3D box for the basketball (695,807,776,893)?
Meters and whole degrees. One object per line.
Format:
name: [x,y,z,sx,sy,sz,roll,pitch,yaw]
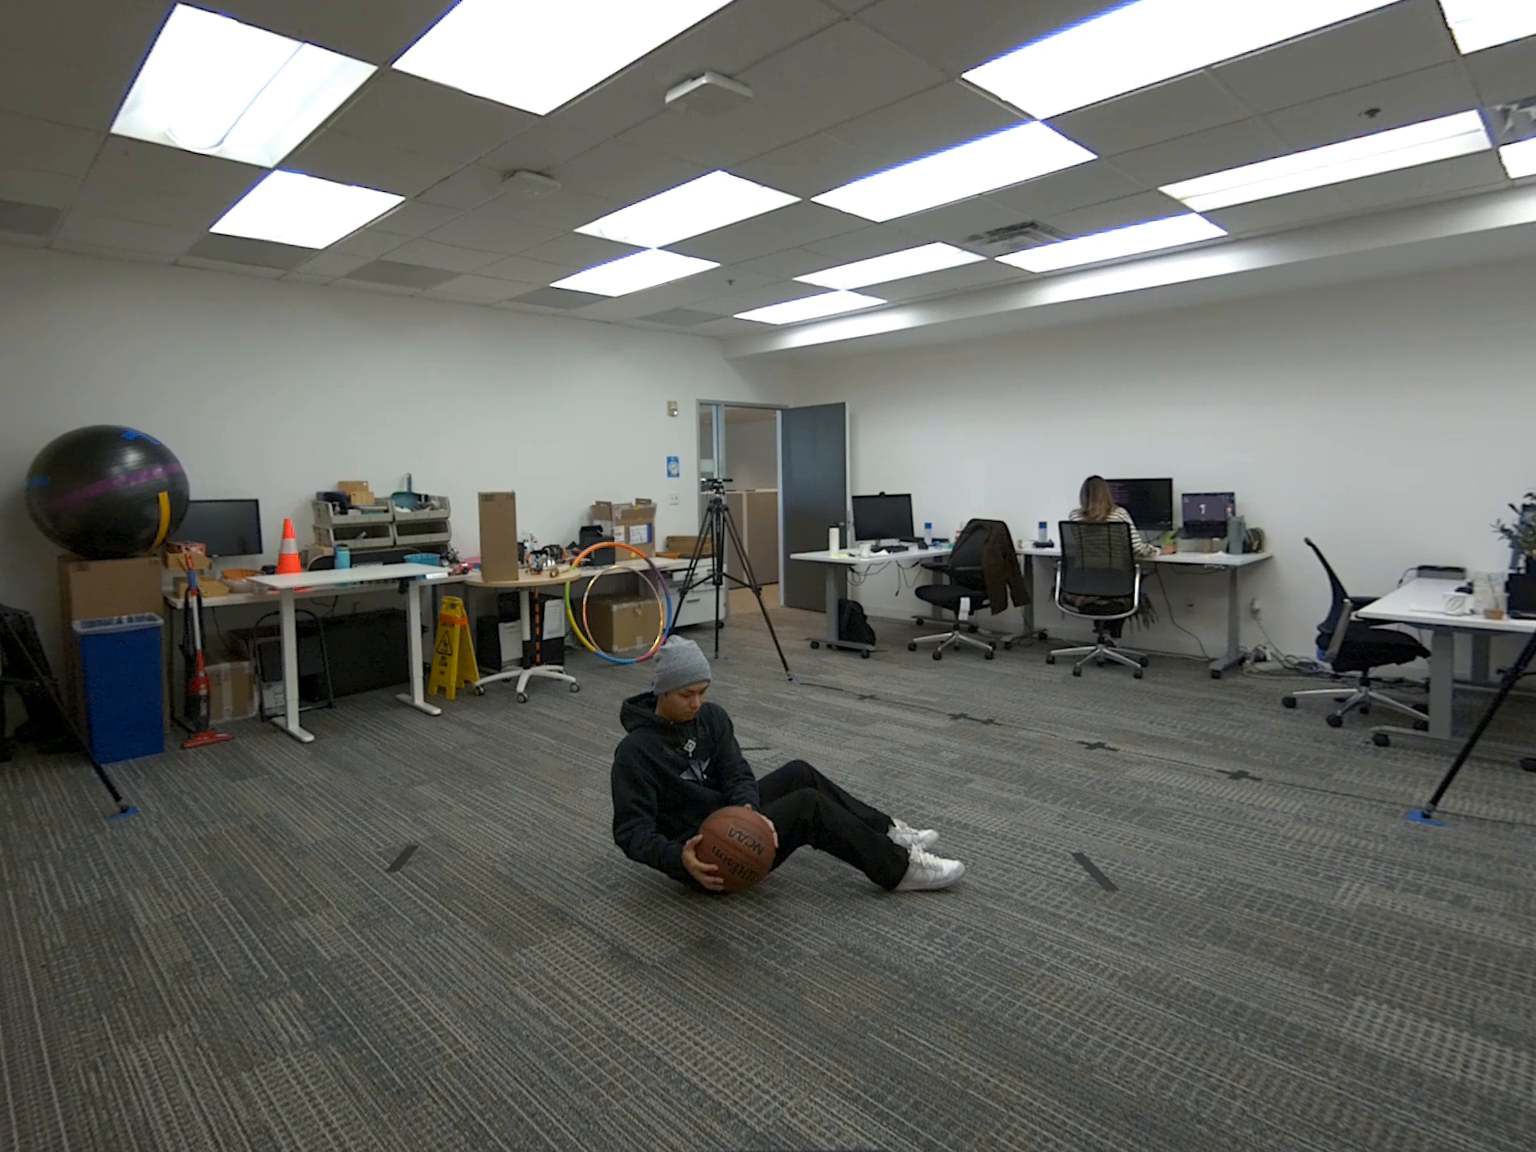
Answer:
basketball: [-0.094,0.808,2.561,0.236,0.235,0.237,-1,5,-2]
